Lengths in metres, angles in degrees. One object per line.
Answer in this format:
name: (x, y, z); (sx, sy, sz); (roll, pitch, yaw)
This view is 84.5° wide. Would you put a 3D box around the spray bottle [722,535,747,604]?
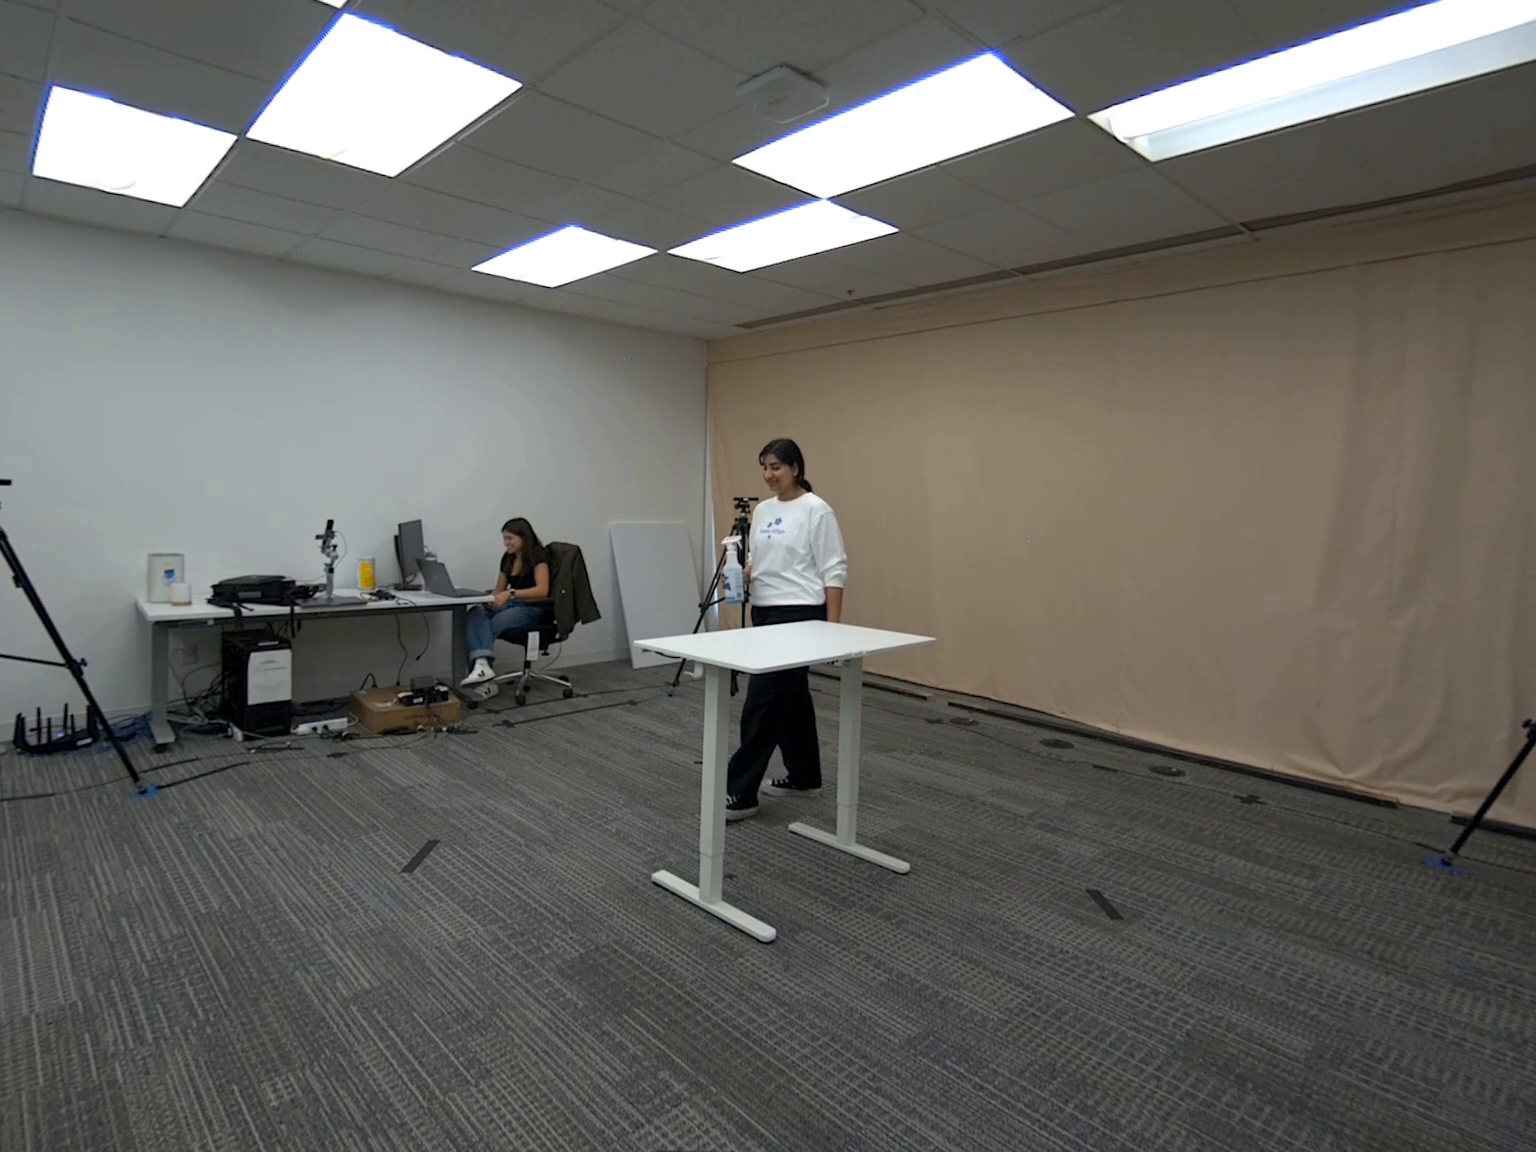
spray bottle: (-0.164, -0.028, 3.749); (0.092, 0.297, 0.085); (0, 3, 28)
